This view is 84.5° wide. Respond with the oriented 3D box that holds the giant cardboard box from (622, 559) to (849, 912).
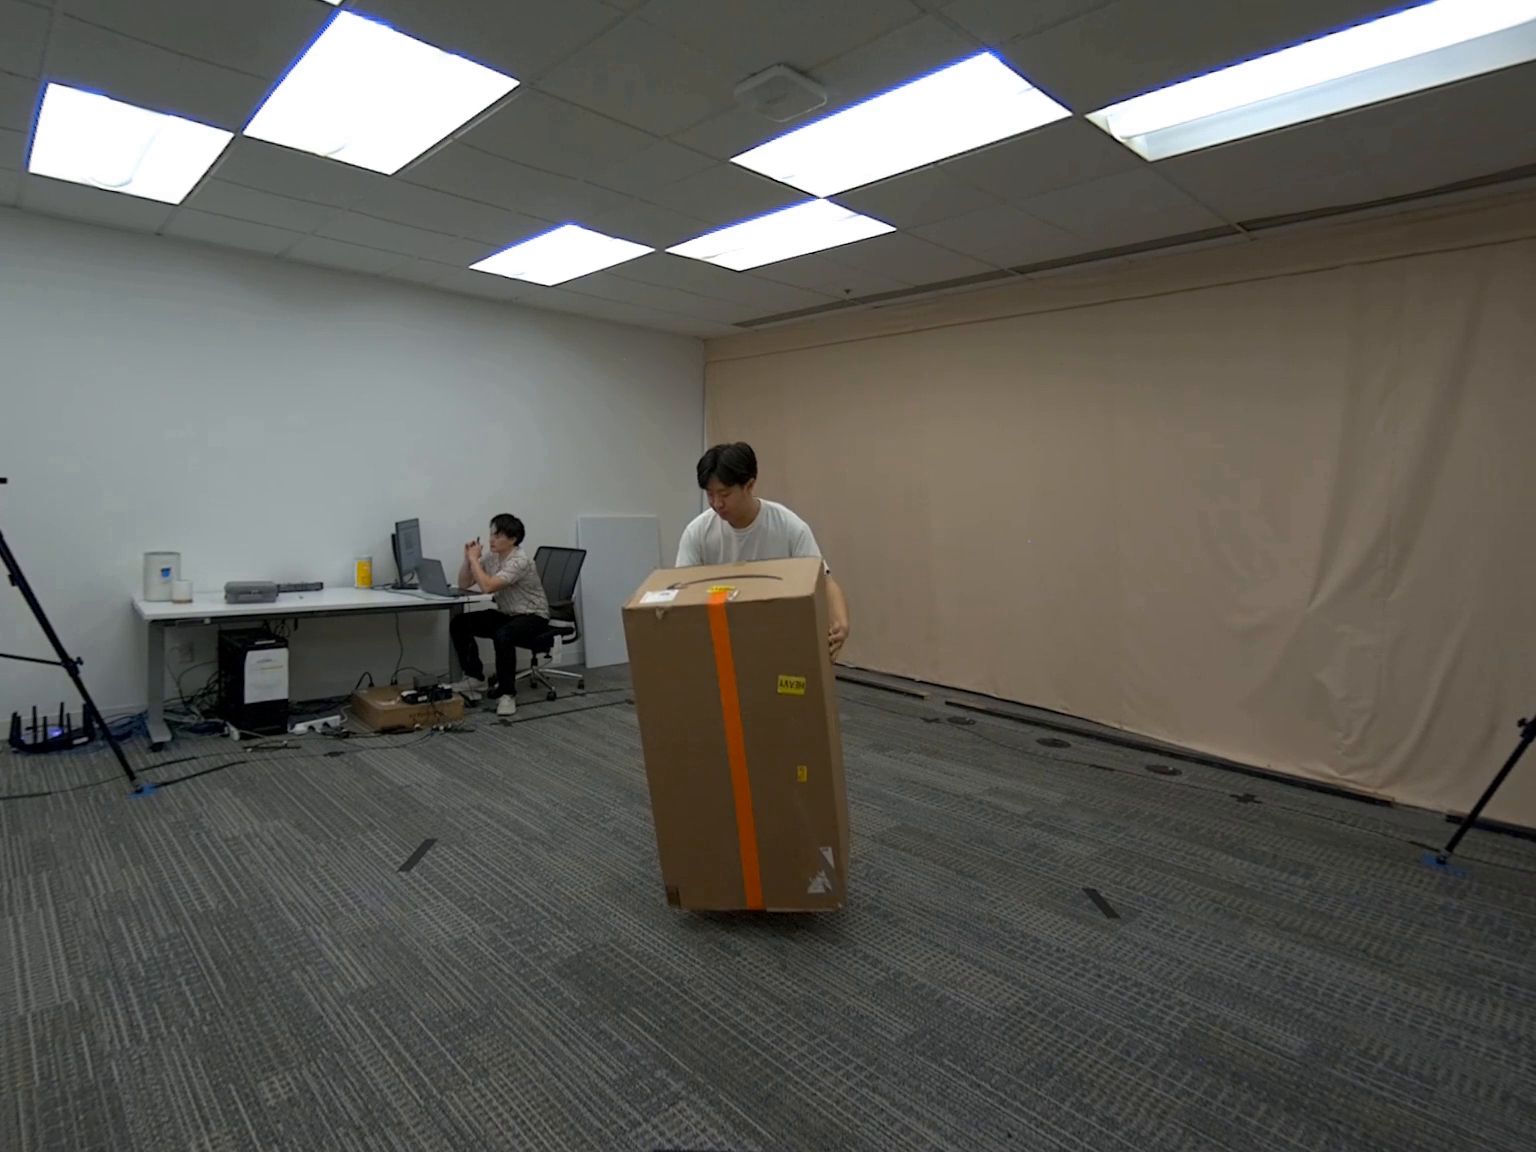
[{"bbox_3d":[-0.077,0.496,2.735,0.582,1.015,0.427,-4,13,11],"label":"giant cardboard box"}]
